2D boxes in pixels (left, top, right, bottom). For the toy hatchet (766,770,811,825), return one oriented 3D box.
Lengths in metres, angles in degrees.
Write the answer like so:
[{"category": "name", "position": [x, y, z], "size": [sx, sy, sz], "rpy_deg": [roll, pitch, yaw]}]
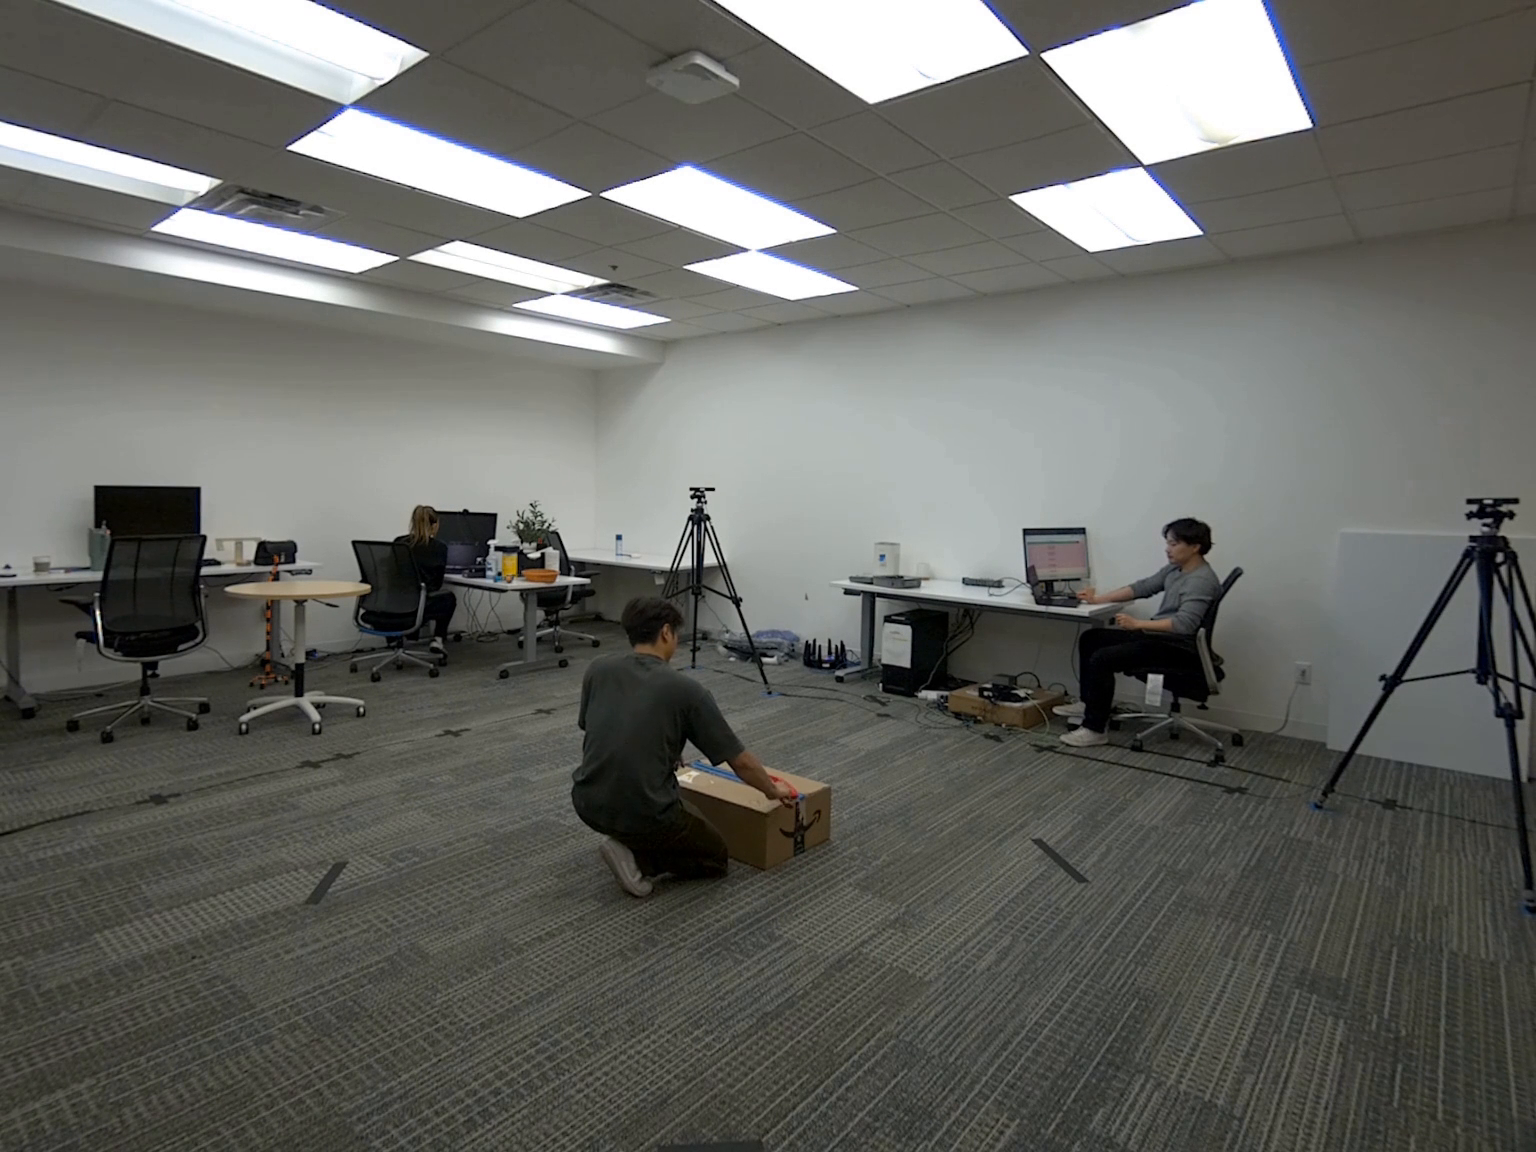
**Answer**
[{"category": "toy hatchet", "position": [0.063, 0.821, 3.145], "size": [0.128, 0.029, 0.275], "rpy_deg": [32, 4, -15]}]
